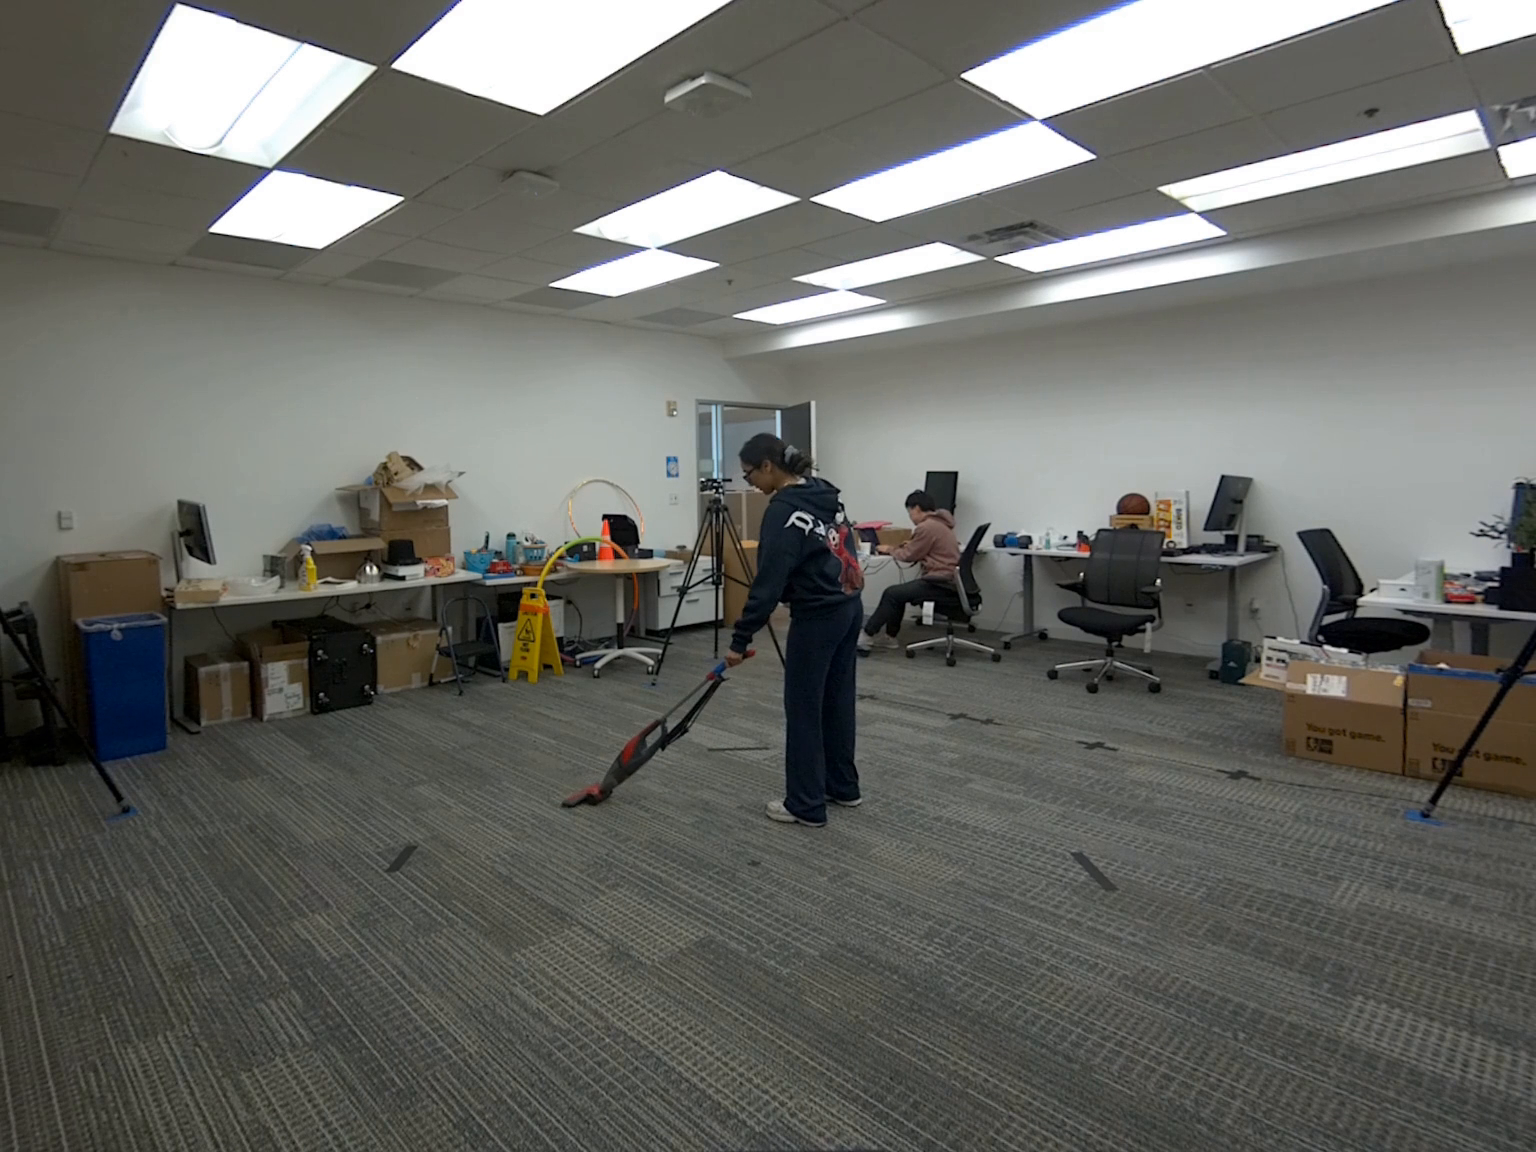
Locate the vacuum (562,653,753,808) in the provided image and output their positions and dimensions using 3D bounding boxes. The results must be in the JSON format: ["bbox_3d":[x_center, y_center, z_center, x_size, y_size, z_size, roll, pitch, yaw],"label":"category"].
[{"bbox_3d":[-0.414,0.642,3.575,1.051,0.145,0.249,-42,-6,20],"label":"vacuum"}]
